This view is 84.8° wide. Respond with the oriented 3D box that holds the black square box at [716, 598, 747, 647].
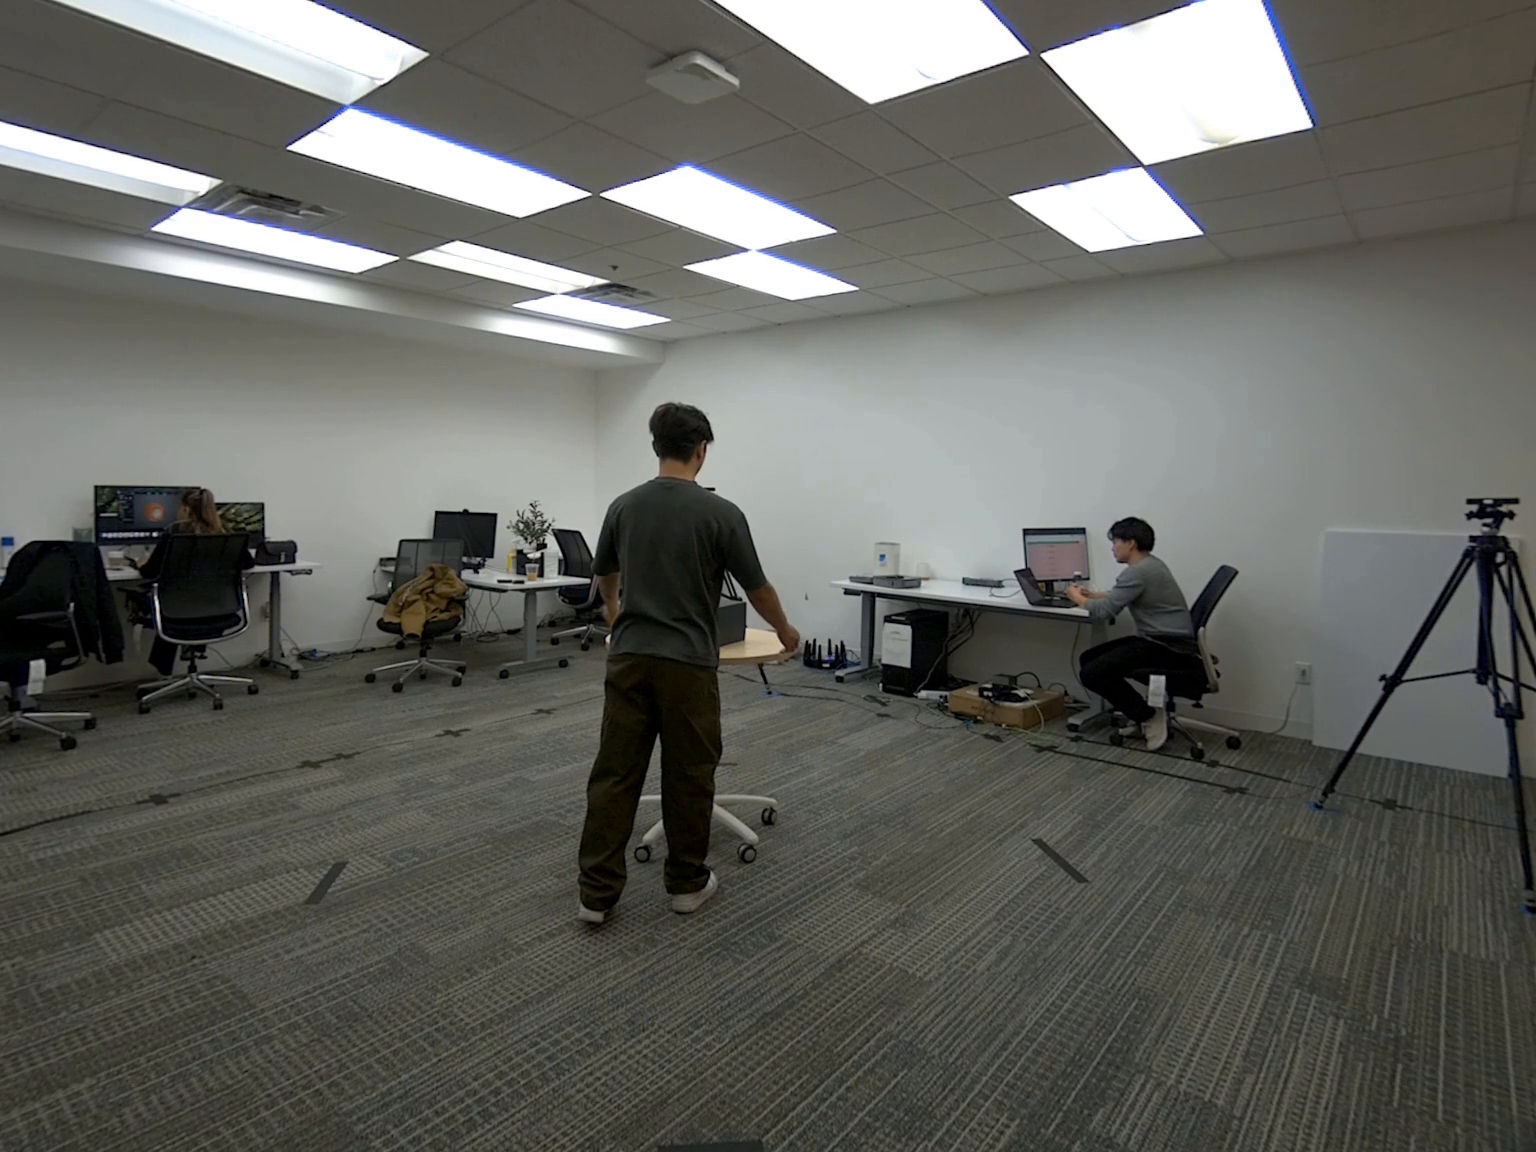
[{"bbox_3d":[-0.243,0.176,3.392,0.223,0.155,0.222,4,5,29],"label":"black square box"}]
